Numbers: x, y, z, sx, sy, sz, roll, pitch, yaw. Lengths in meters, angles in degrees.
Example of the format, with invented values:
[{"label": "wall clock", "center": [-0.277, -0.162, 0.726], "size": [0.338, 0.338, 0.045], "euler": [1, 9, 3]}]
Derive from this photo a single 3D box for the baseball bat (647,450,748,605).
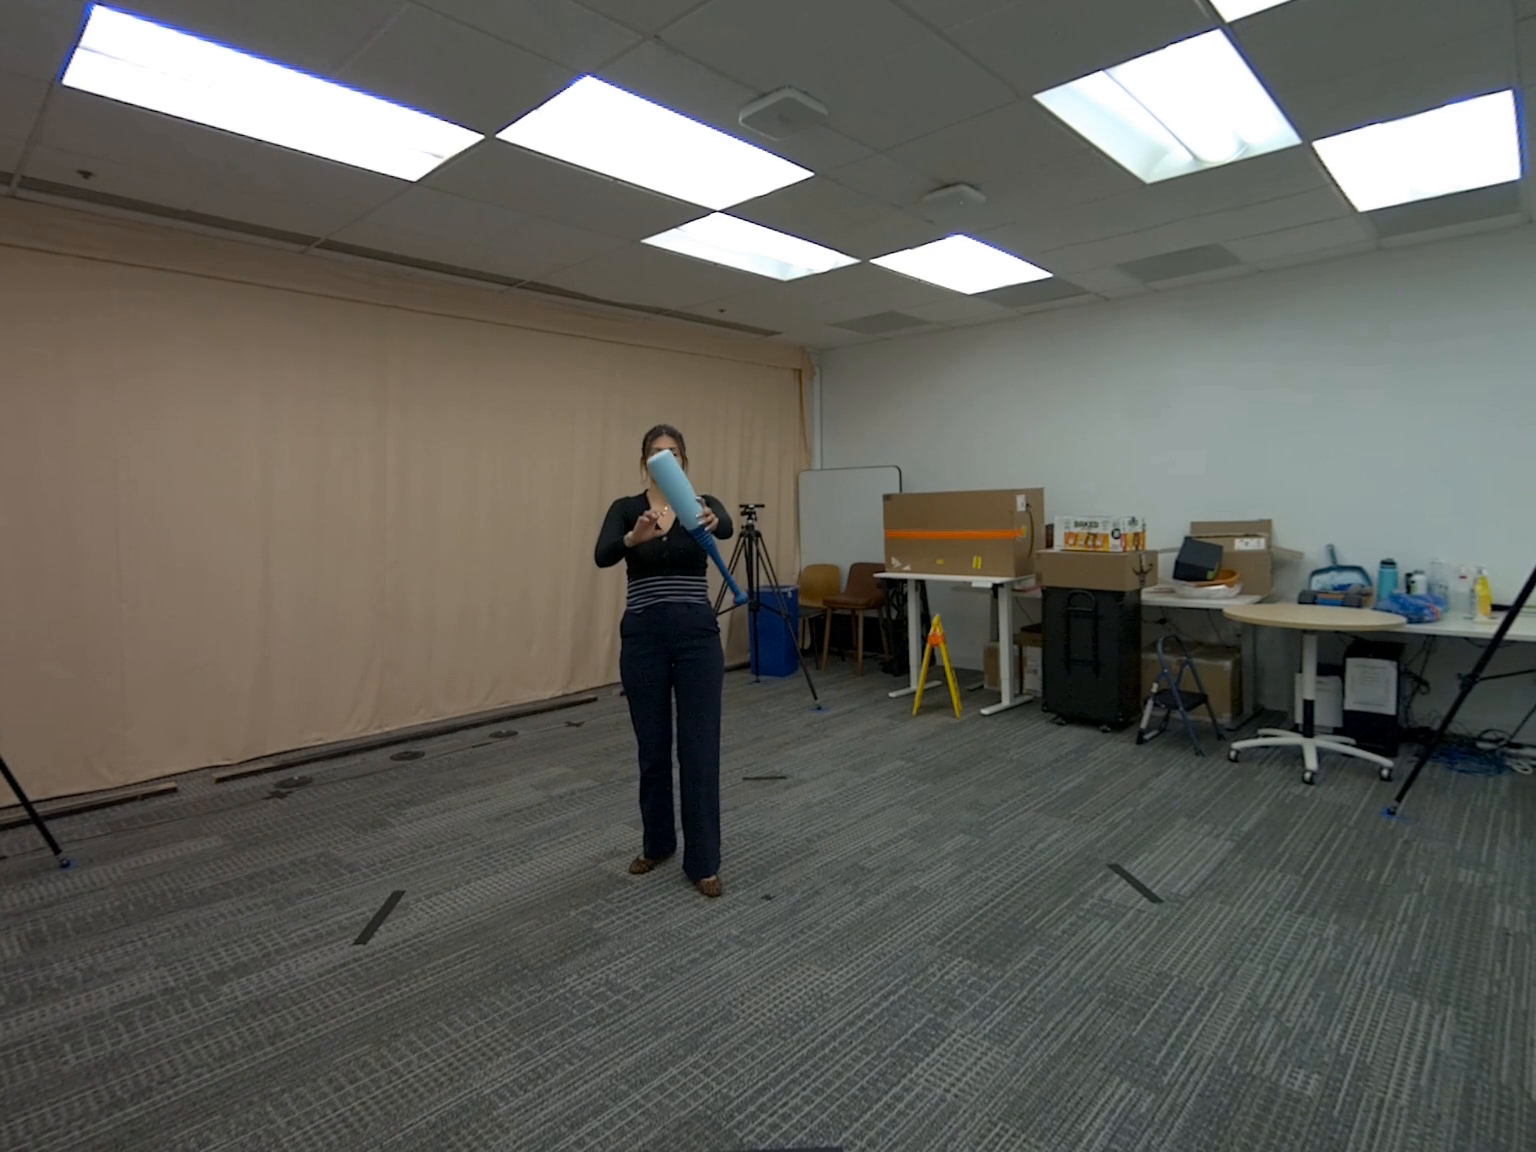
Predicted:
[{"label": "baseball bat", "center": [-0.207, -0.140, 2.595], "size": [0.089, 0.535, 0.090], "euler": [-28, 13, 6]}]
